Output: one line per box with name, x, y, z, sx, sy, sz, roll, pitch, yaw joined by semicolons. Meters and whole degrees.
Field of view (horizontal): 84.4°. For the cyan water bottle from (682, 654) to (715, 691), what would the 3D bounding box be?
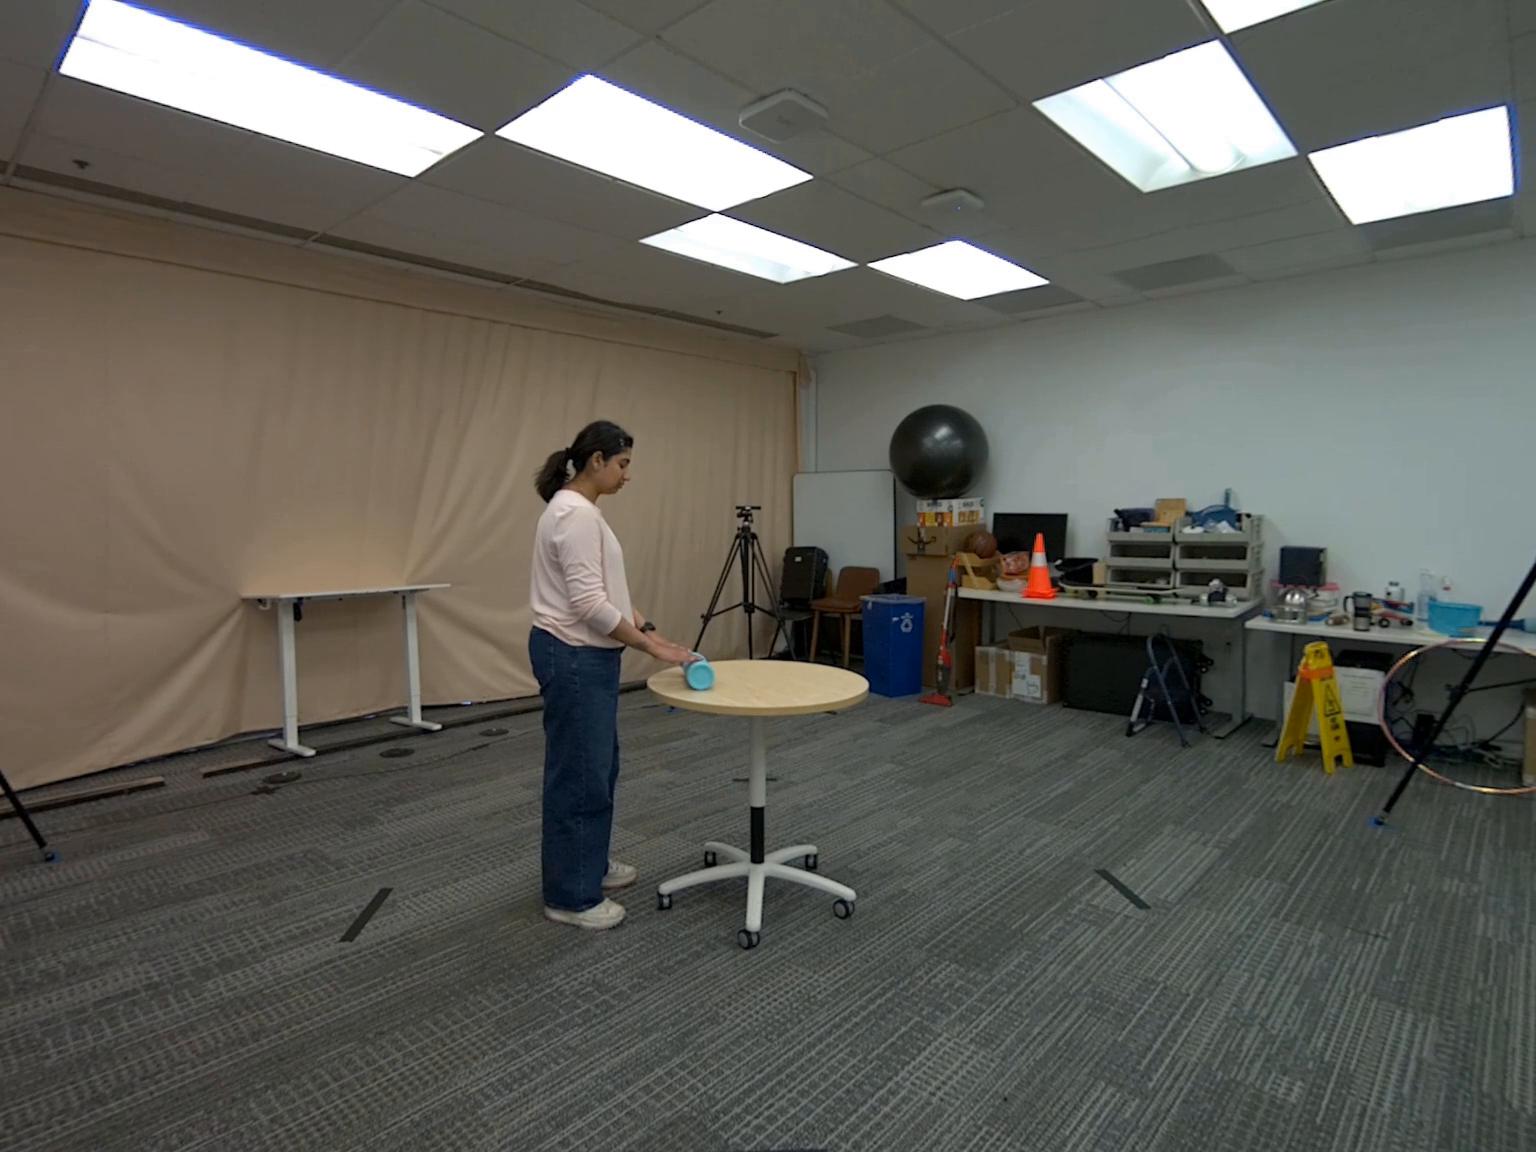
cyan water bottle;-0.236;0.321;2.904;0.091;0.092;0.287;-1;4;-10
